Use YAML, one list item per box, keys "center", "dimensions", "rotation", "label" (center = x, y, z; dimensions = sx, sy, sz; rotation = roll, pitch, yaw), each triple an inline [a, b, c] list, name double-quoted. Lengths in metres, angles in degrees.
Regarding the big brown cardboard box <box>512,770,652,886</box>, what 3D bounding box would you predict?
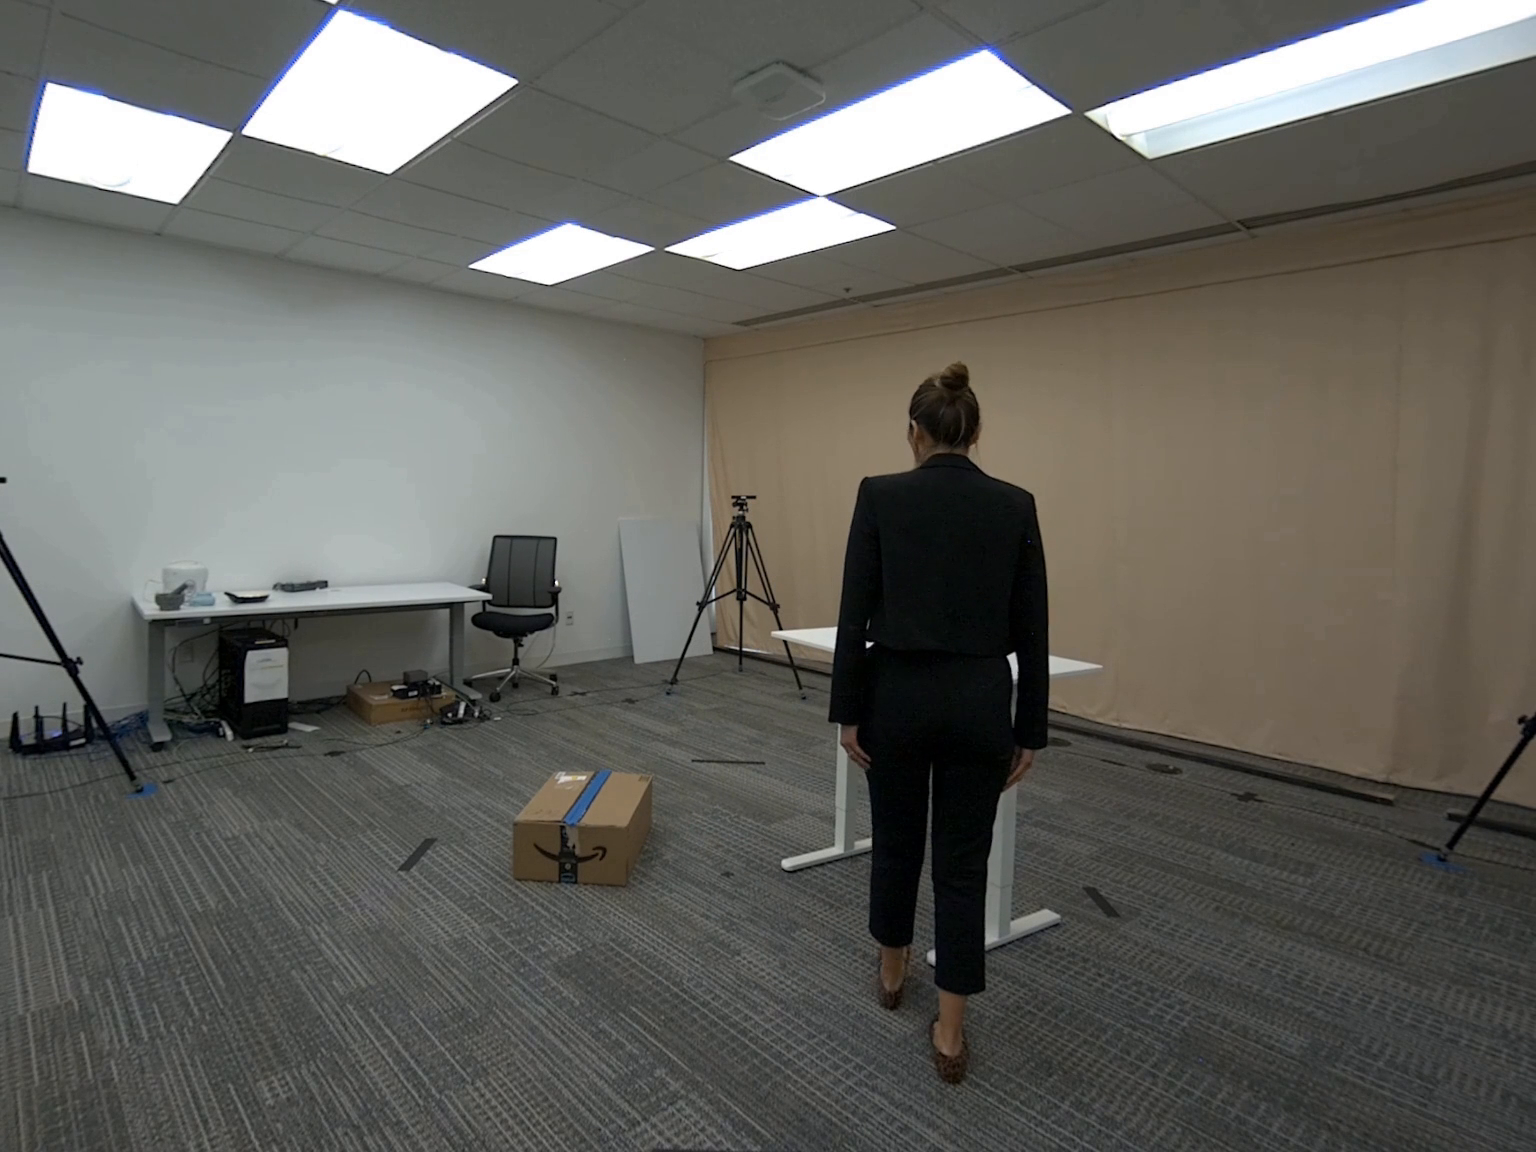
- center: [-0.709, 0.962, 3.278]
  dimensions: [0.418, 0.232, 0.590]
  rotation: [1, 6, 2]
  label: "big brown cardboard box"
